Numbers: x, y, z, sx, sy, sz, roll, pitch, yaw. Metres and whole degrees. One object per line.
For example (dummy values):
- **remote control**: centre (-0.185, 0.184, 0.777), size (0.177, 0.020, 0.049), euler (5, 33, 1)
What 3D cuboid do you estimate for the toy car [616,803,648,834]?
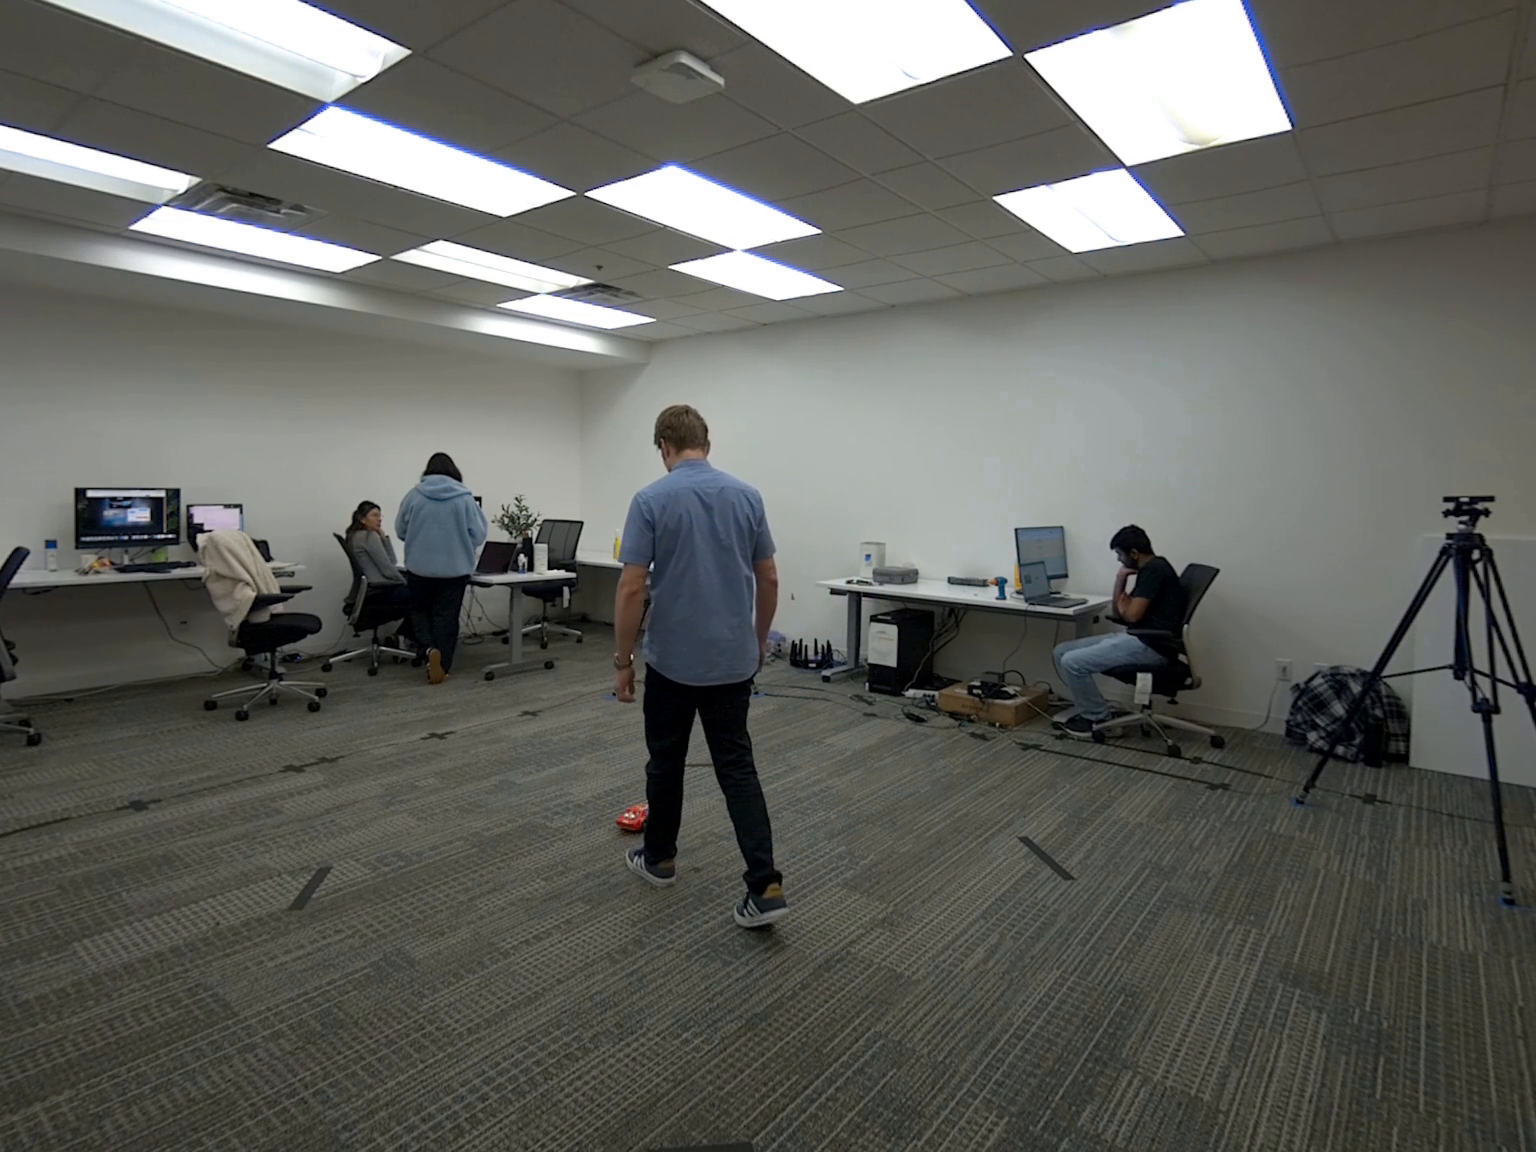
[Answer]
- **toy car**: centre (-0.547, 0.997, 3.508), size (0.133, 0.083, 0.247), euler (3, -5, 23)
